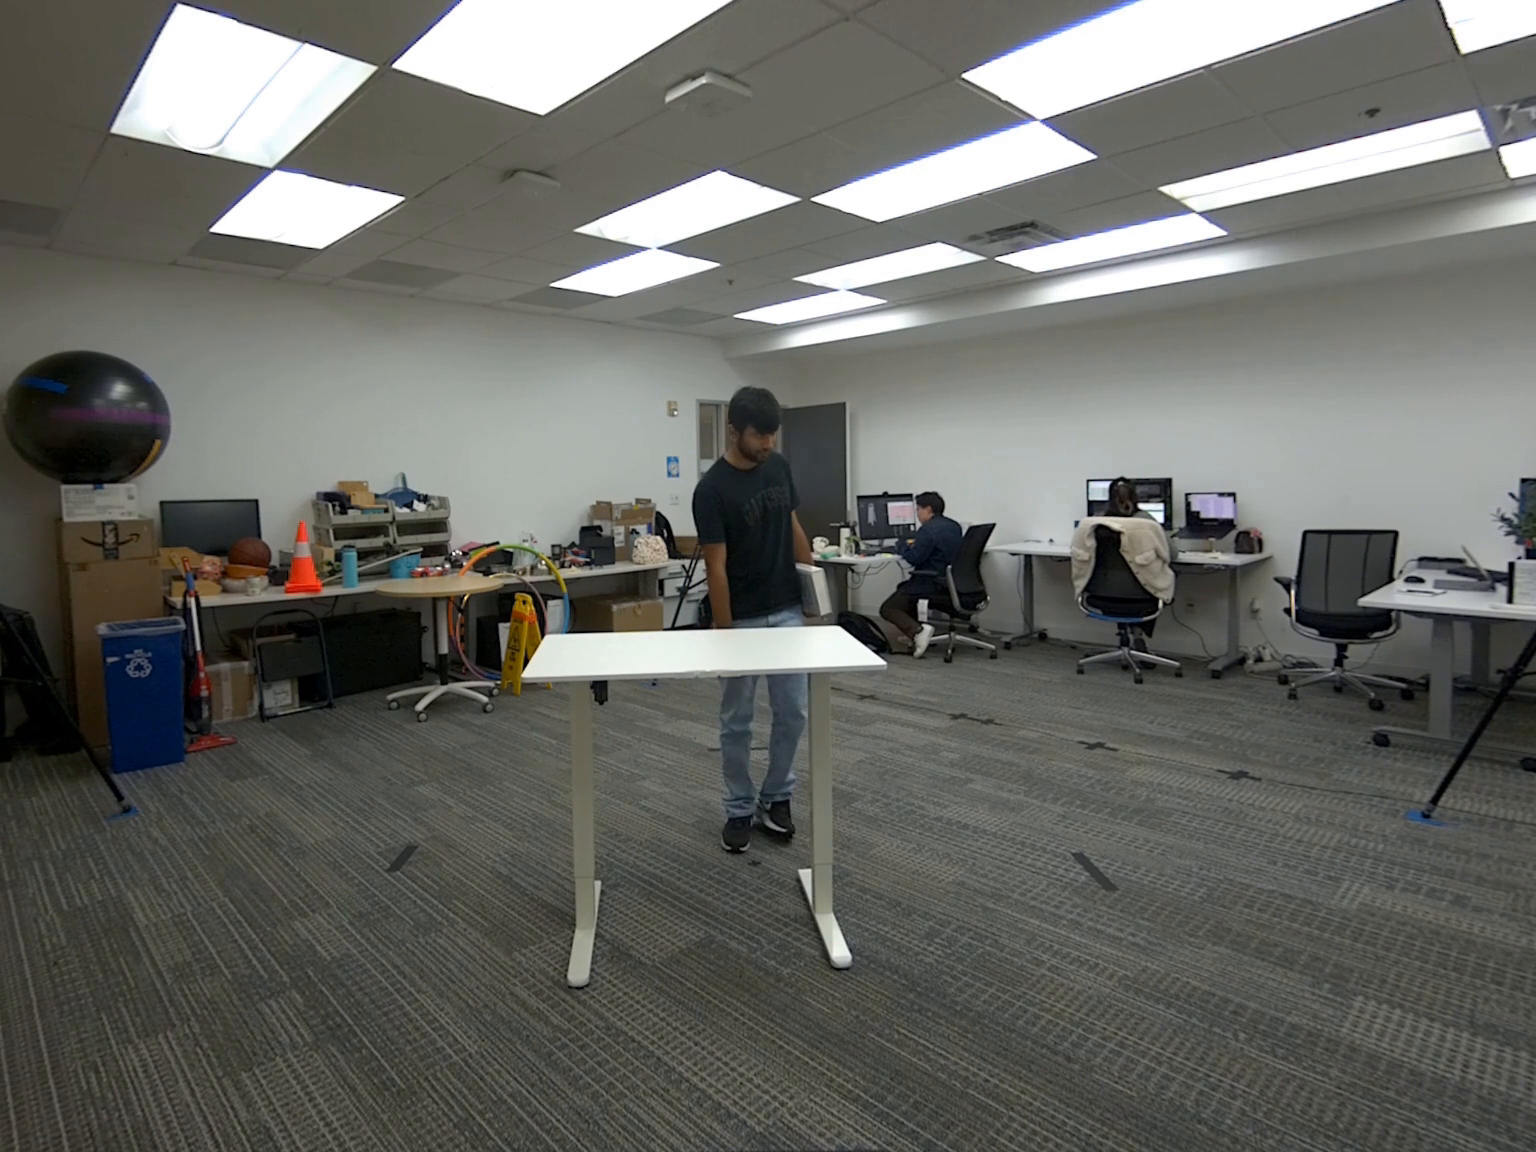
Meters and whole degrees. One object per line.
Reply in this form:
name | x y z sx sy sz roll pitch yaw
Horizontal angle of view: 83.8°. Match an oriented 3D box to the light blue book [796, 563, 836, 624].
light blue book | 0.125 0.046 3.365 0.058 0.188 0.269 -19 16 -25
